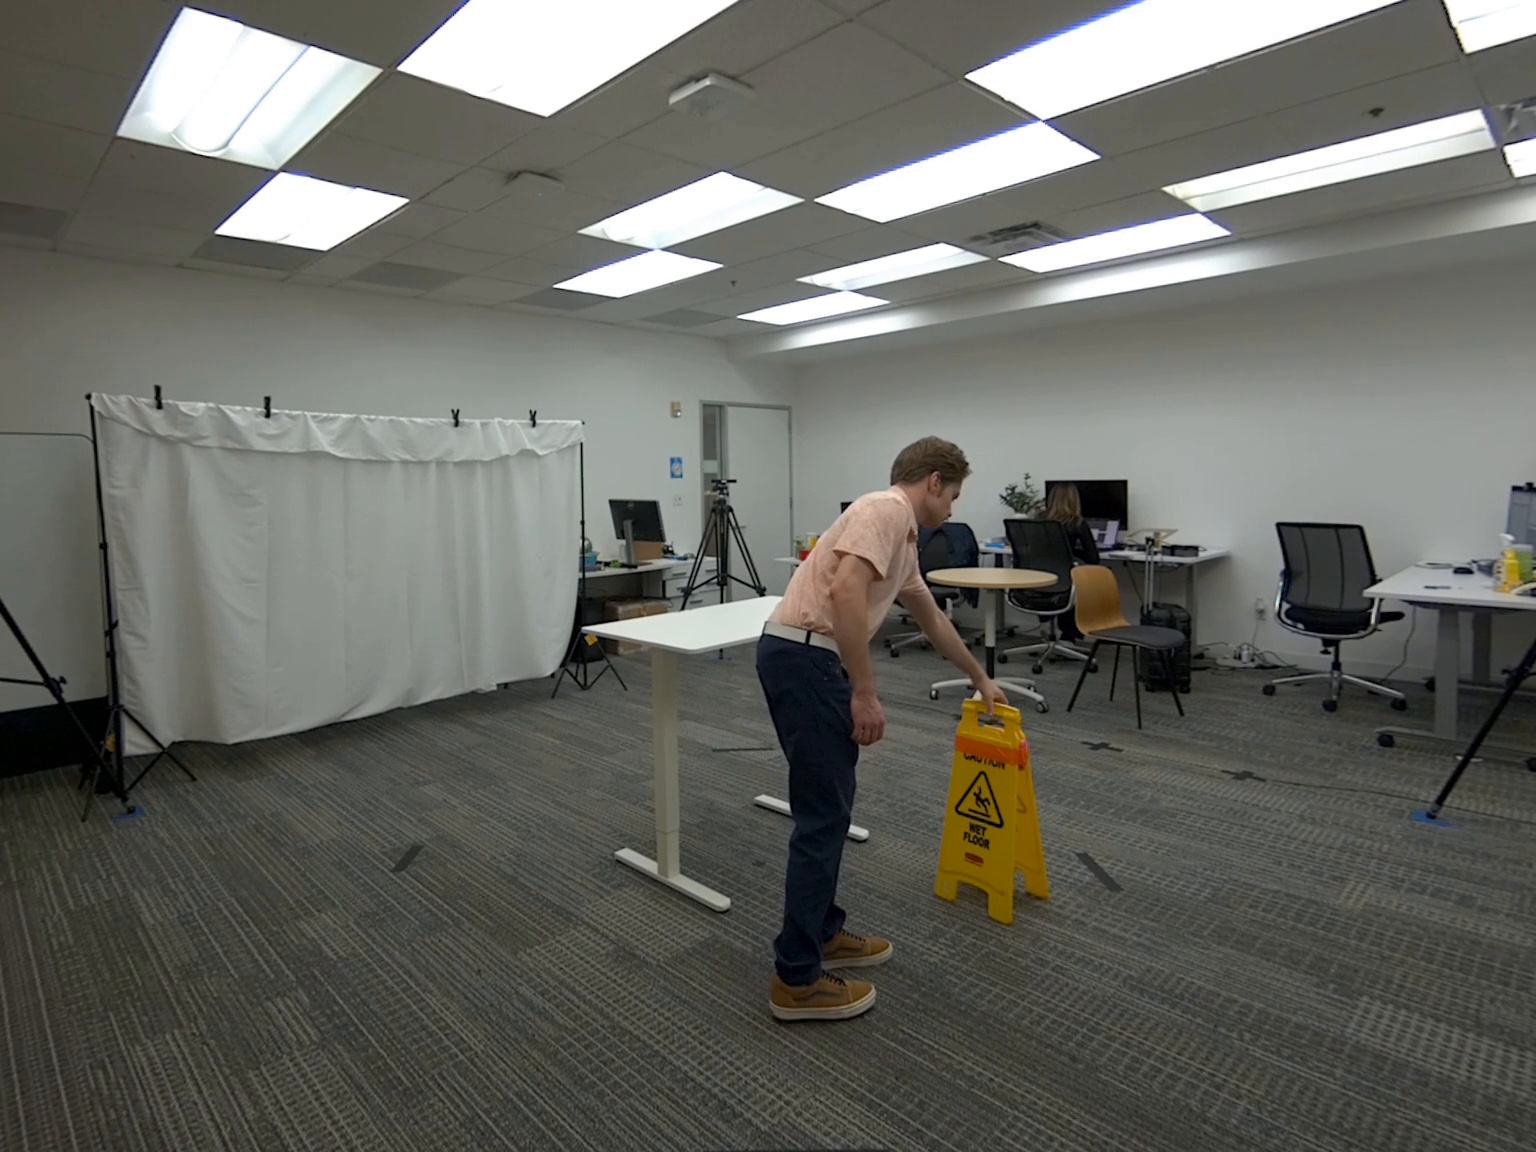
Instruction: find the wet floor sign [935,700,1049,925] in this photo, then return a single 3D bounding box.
[{"bbox_3d":[0.735,0.744,2.808,0.282,0.644,0.291,-6,6,-44],"label":"wet floor sign"}]
